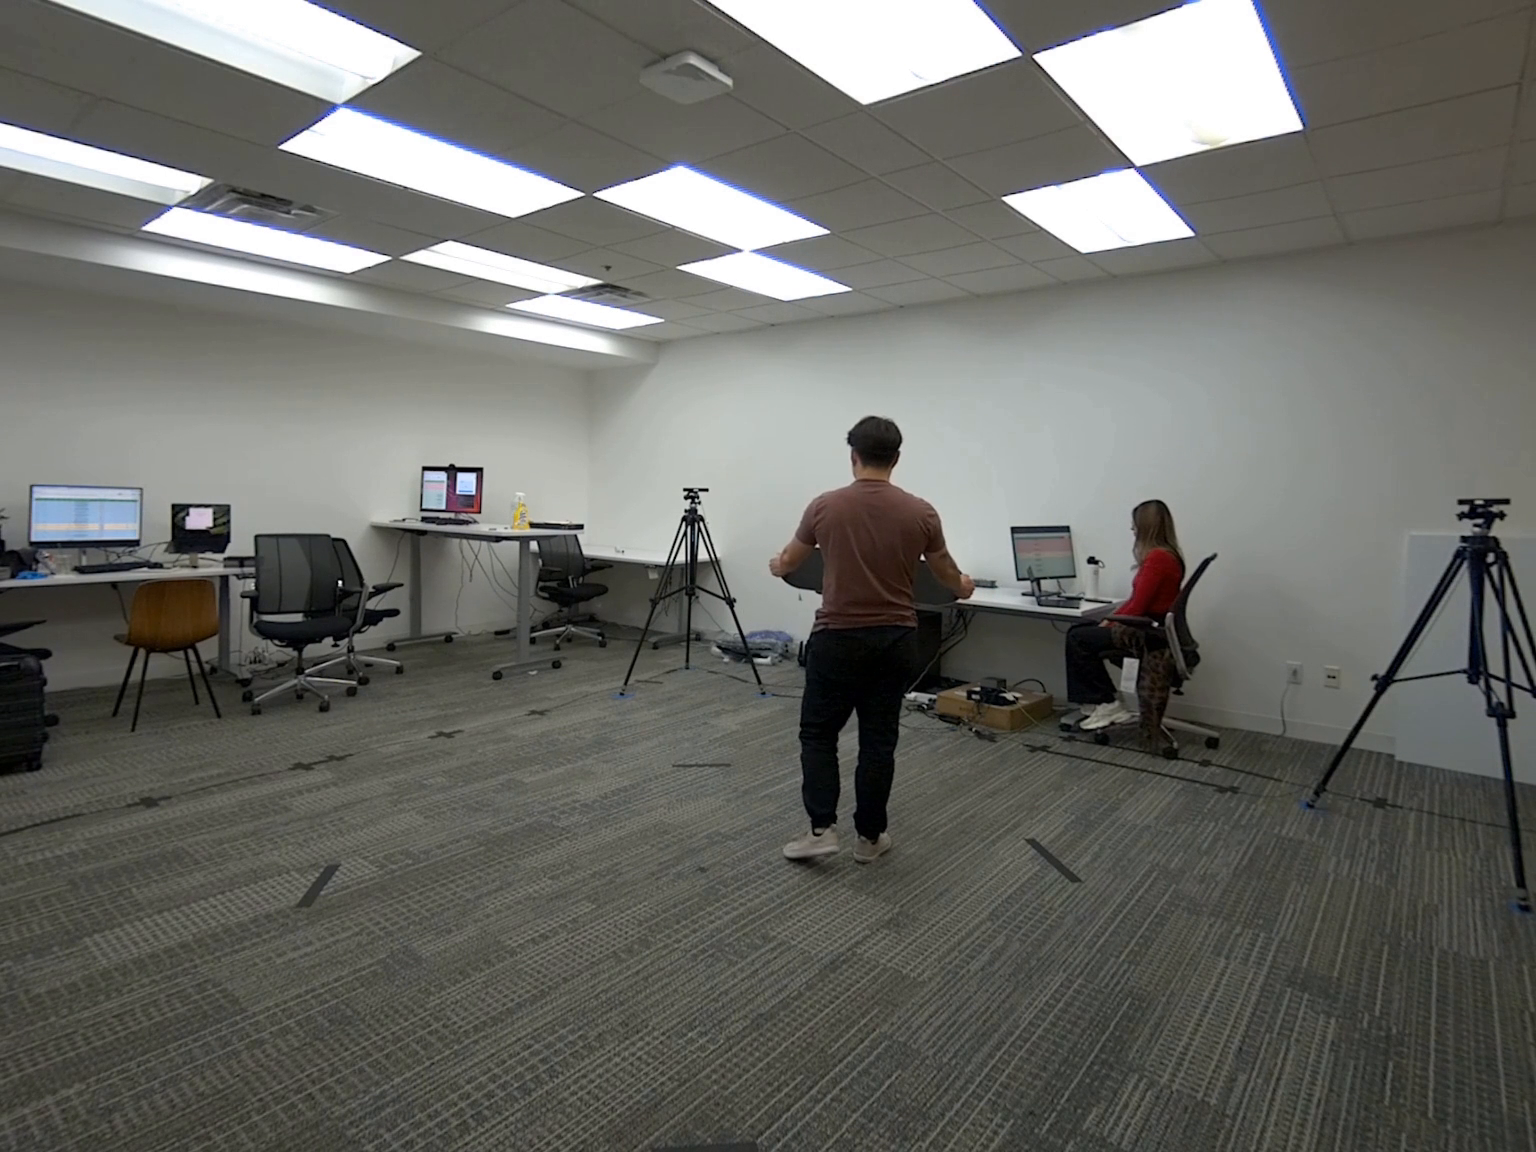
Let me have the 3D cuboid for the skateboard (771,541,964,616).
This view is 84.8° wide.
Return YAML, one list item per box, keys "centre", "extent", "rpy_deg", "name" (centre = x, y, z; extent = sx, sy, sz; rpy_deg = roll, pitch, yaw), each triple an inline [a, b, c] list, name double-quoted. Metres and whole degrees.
- centre: [0.418, 0.005, 3.620]
  extent: [0.796, 0.196, 0.107]
  rpy_deg: [7, -18, 12]
  name: "skateboard"
